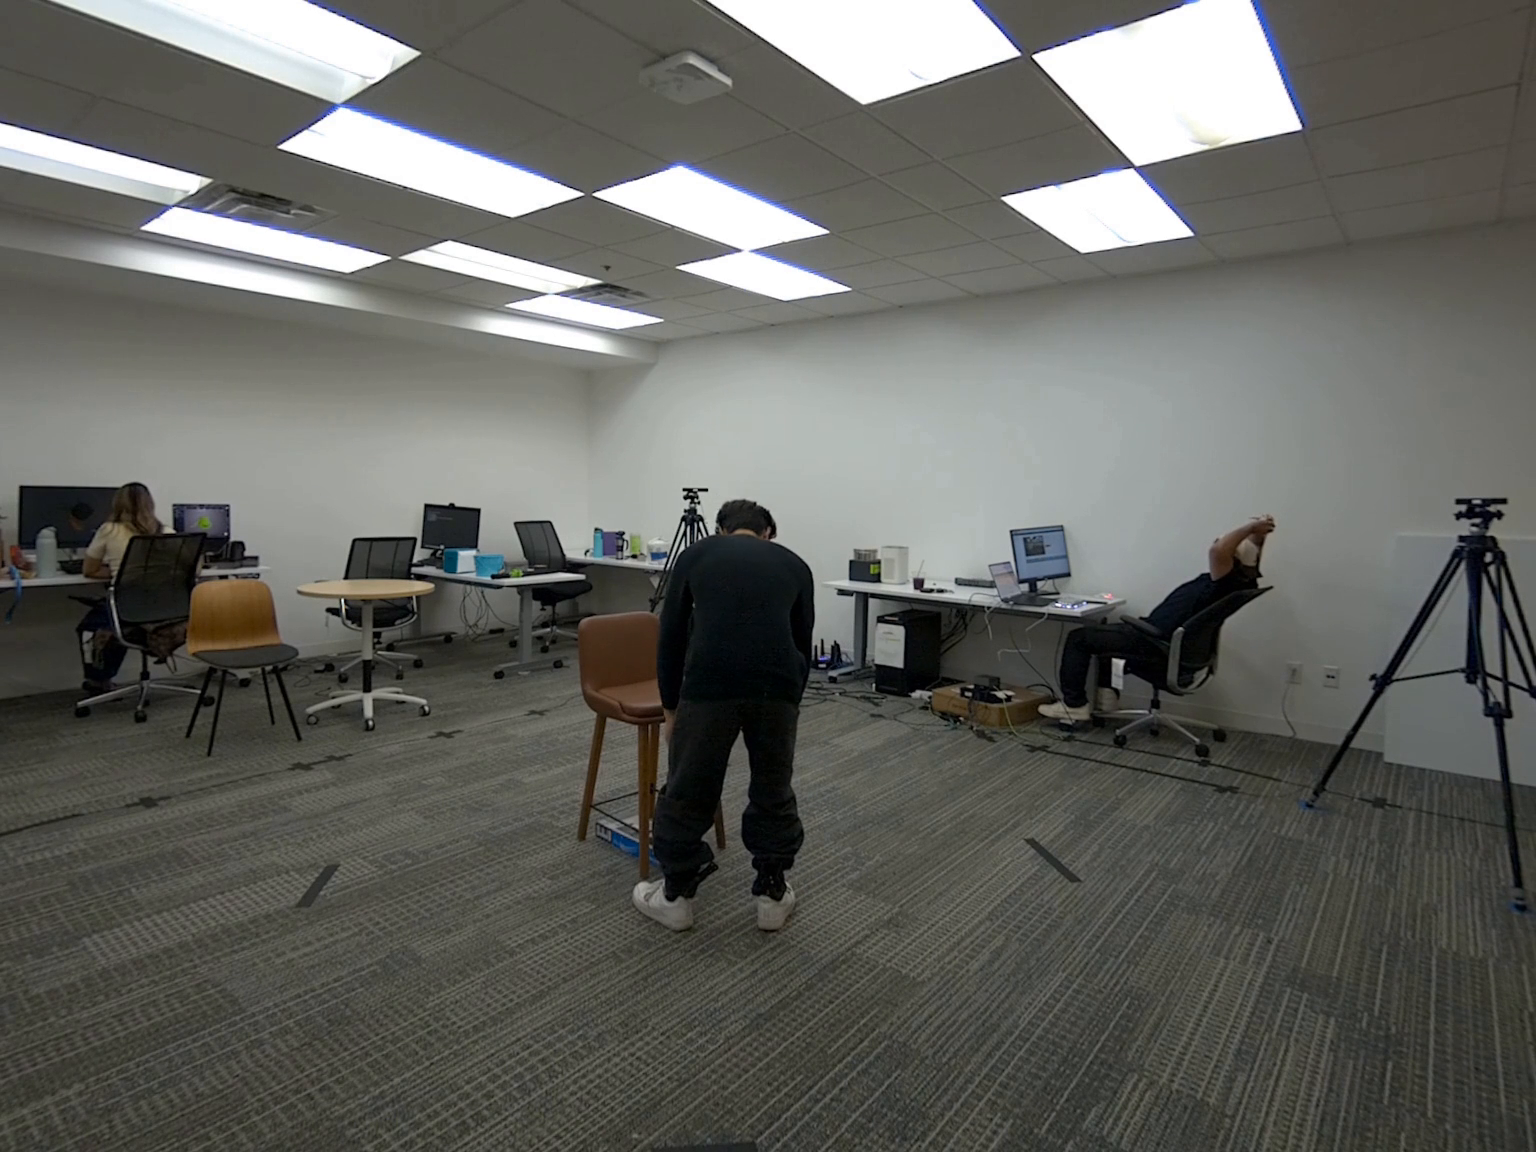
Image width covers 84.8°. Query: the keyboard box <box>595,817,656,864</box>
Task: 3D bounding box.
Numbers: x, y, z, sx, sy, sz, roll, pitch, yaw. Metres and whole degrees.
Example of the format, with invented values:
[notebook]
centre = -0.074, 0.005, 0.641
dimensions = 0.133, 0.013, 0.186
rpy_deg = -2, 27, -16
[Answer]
[keyboard box]
centre = -0.478, 1.026, 3.298
dimensions = 0.452, 0.059, 0.170
rpy_deg = 7, 4, 44
